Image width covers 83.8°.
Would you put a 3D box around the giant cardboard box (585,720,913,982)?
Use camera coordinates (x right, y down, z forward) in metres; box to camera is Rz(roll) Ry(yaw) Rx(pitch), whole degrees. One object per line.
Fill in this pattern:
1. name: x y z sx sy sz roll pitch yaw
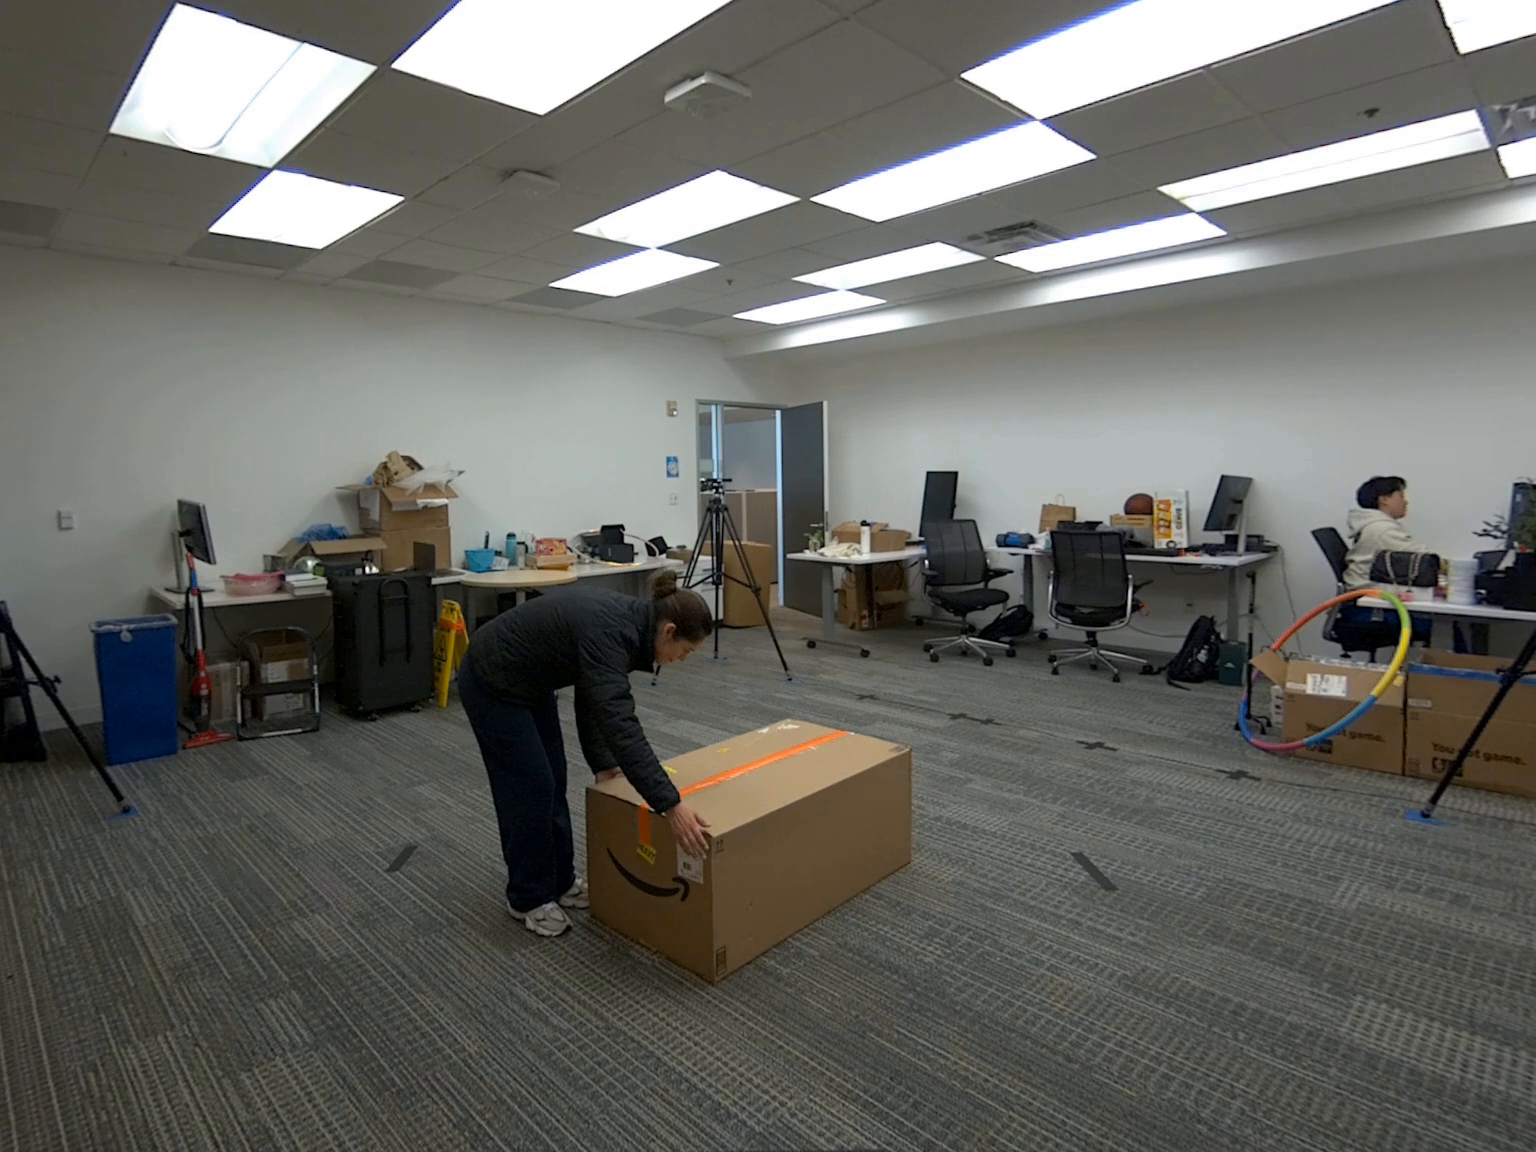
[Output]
1. giant cardboard box: -0.030 0.853 2.922 0.595 0.424 0.999 3 8 42
